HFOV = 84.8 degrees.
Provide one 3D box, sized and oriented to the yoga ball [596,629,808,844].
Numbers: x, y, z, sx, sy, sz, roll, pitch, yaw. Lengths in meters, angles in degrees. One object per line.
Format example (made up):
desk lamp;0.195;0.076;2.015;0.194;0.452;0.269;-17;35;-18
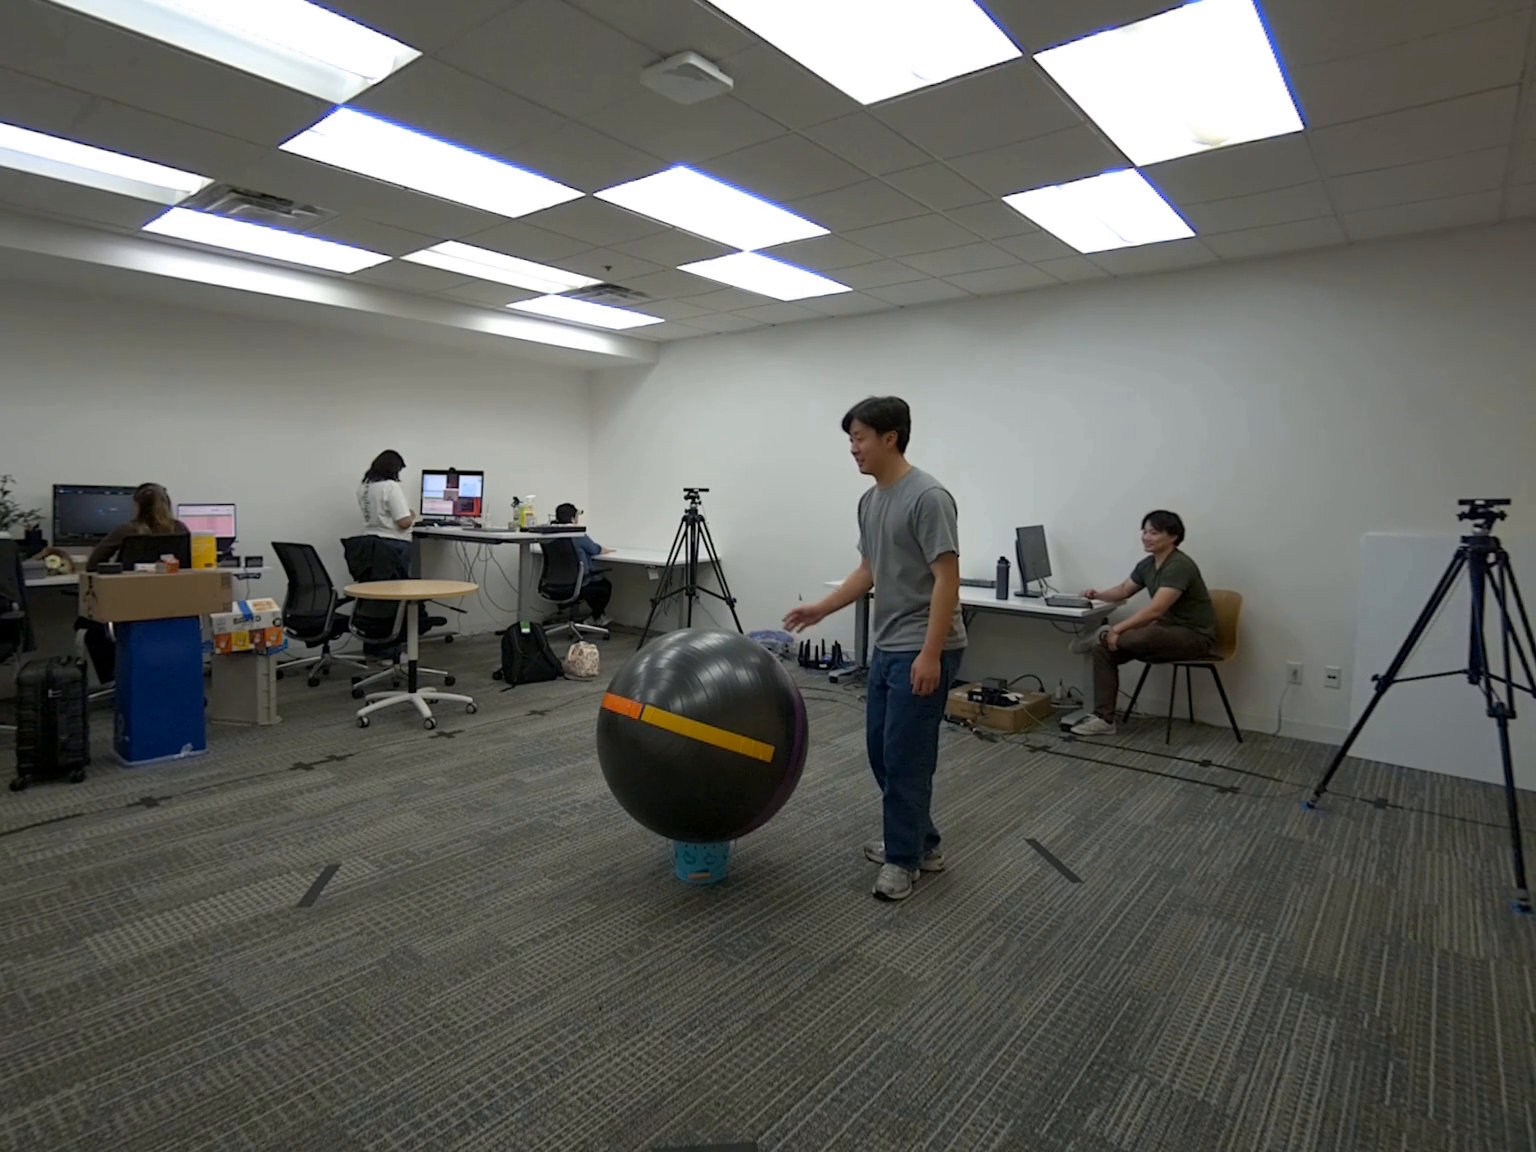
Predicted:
yoga ball;-0.253;0.566;3.065;0.757;0.755;0.762;1;4;-2
